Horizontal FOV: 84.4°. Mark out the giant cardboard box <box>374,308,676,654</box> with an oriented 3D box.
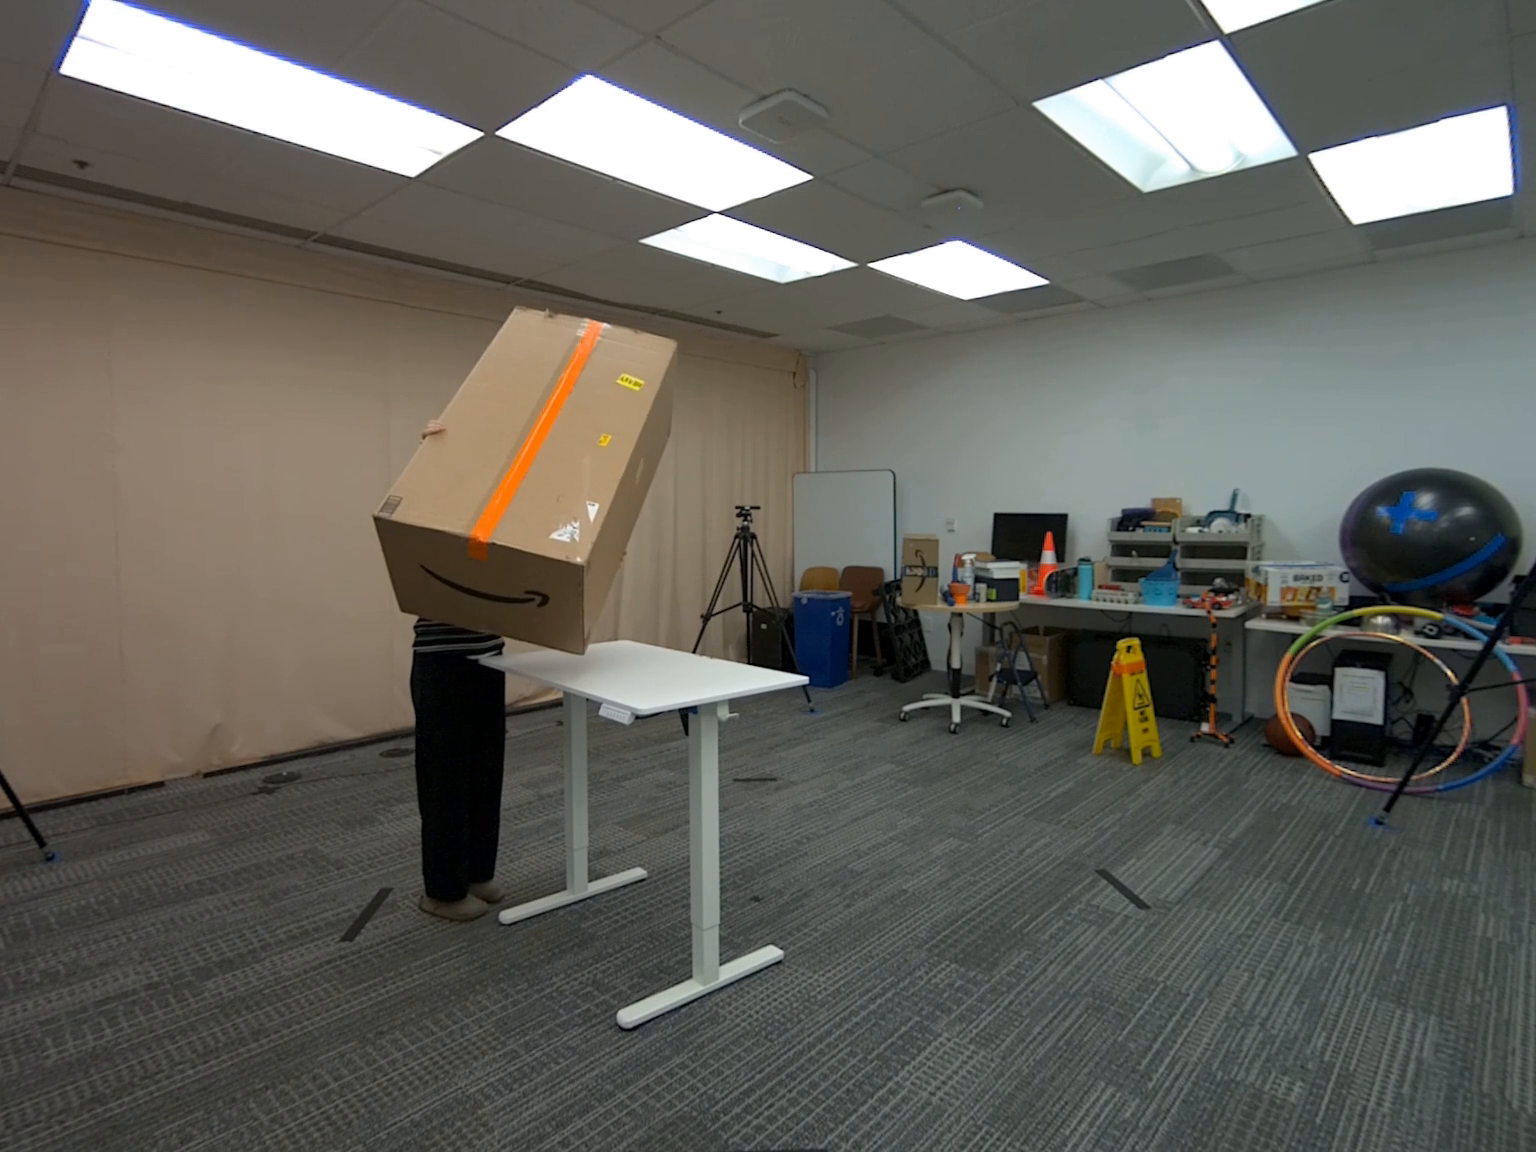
[{"bbox_3d":[-0.696,-0.336,2.651,0.579,1.036,0.421,13,-41,0],"label":"giant cardboard box"}]
